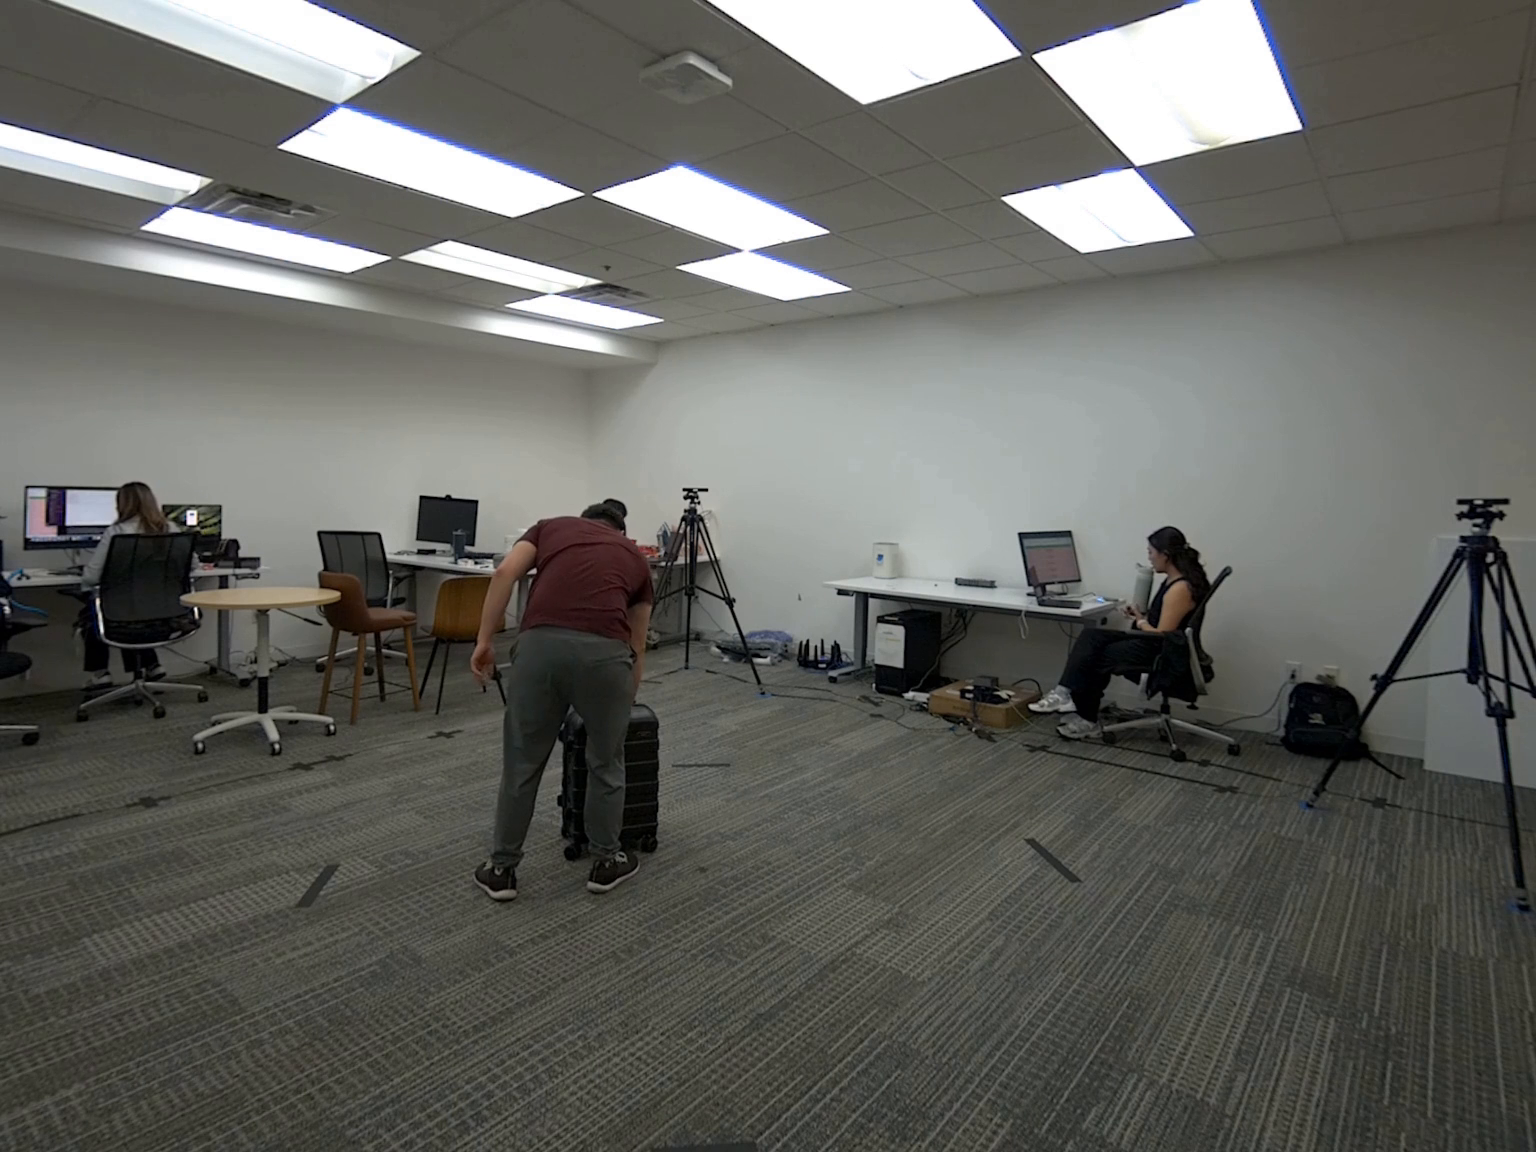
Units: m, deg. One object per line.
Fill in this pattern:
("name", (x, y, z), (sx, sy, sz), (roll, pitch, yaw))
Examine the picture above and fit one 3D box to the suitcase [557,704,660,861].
("suitcase", (-0.616, 0.569, 3.315), (0.377, 0.977, 0.262), (1, 2, -18))
